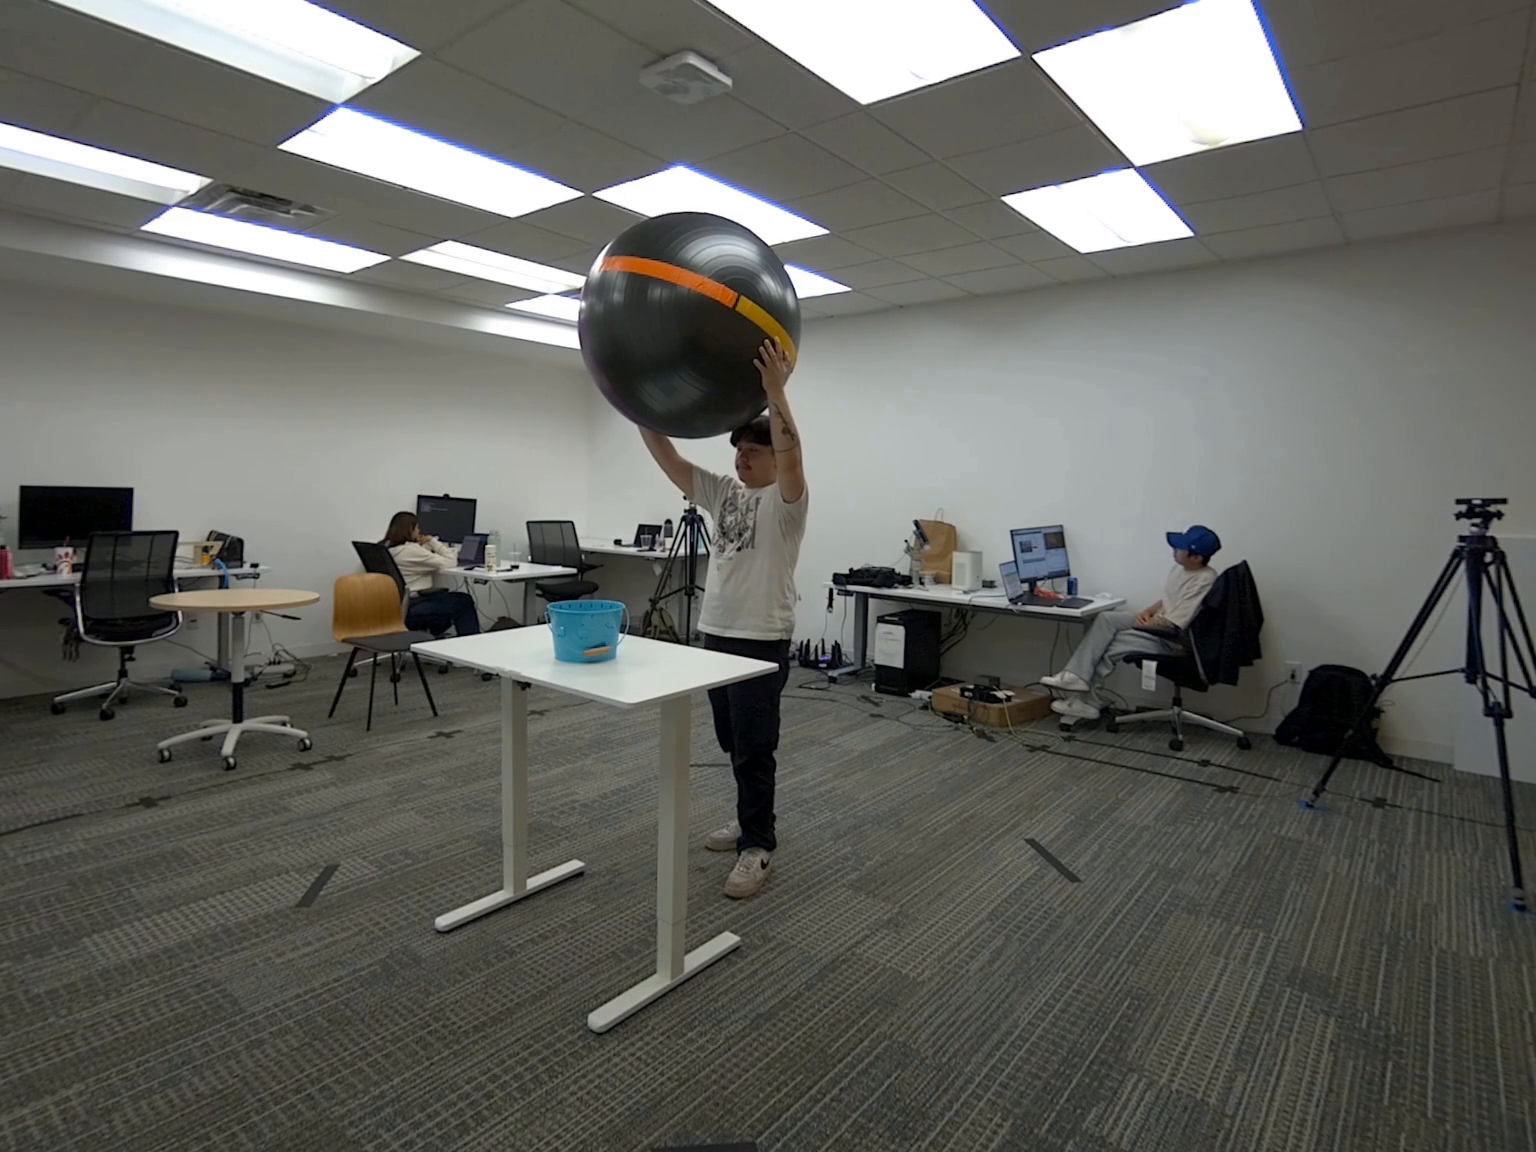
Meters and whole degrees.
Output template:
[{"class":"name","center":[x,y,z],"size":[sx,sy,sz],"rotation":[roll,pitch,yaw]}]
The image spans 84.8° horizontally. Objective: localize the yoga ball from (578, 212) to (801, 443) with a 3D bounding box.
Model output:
[{"class":"yoga ball","center":[-0.278,-0.846,2.907],"size":[0.757,0.755,0.762],"rotation":[1,4,-2]}]
